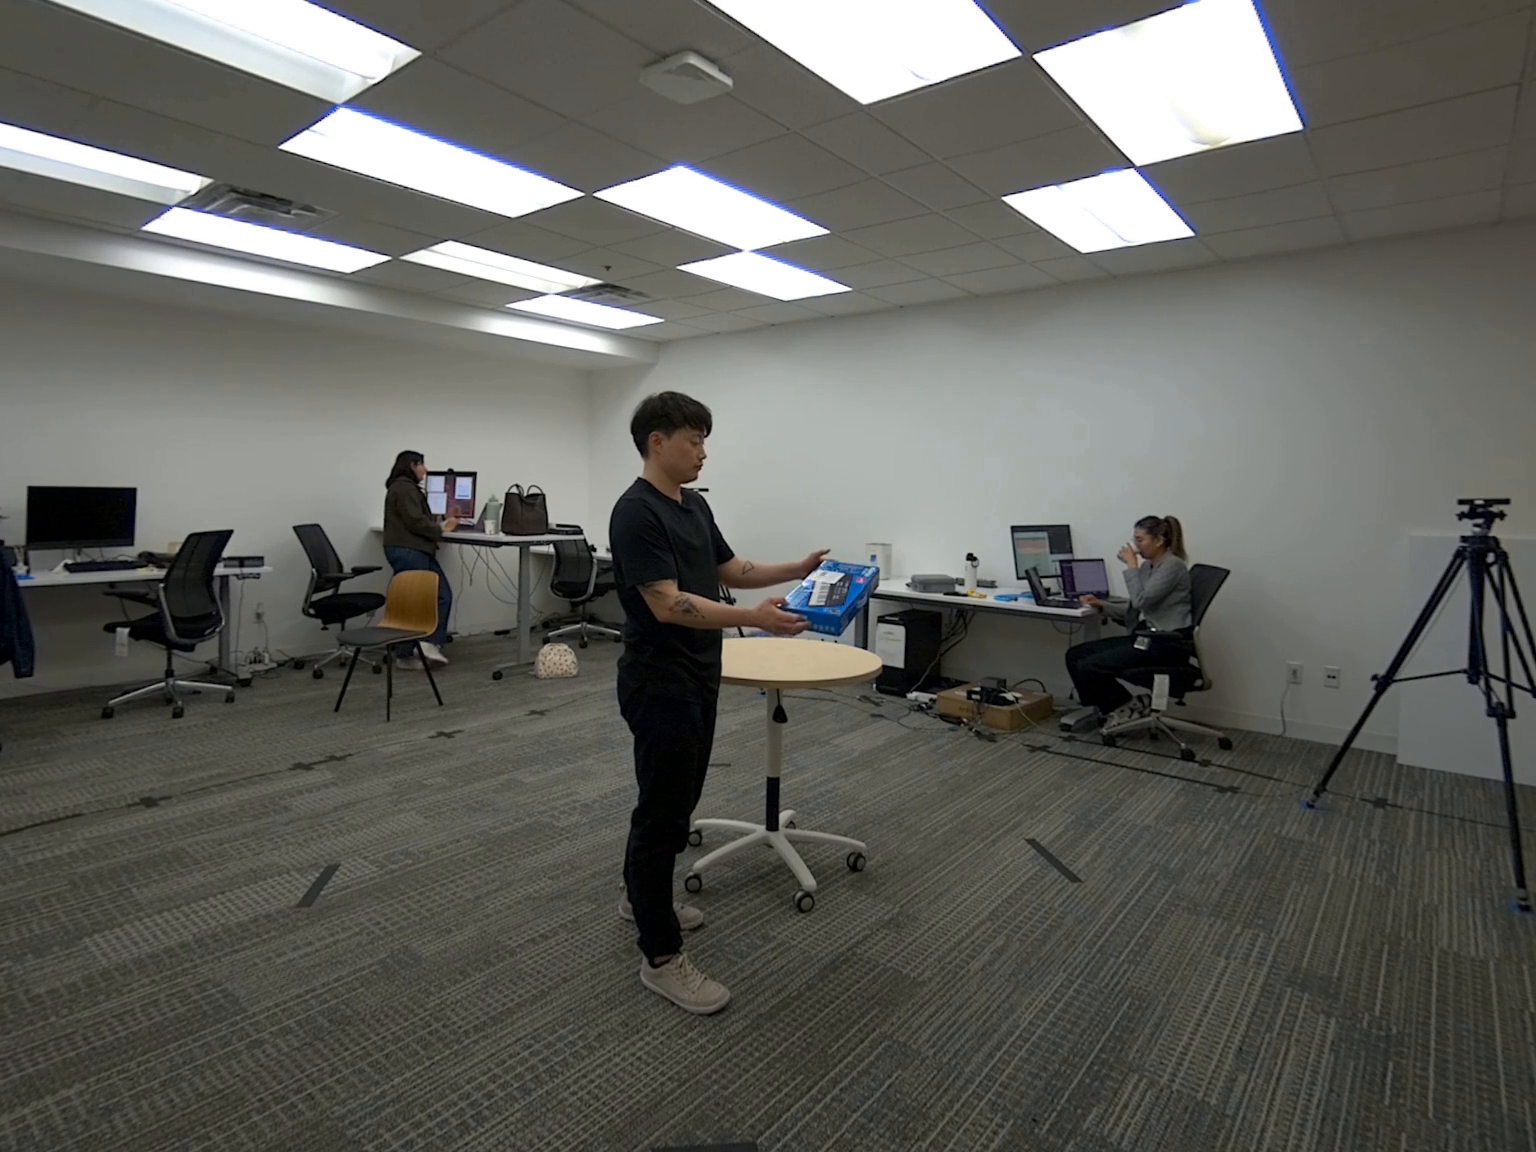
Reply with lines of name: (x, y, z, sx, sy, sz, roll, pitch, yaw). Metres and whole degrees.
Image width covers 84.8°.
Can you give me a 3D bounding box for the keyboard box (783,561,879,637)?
keyboard box: (0.166, 0.049, 2.360, 0.180, 0.058, 0.434, 5, 18, 19)
